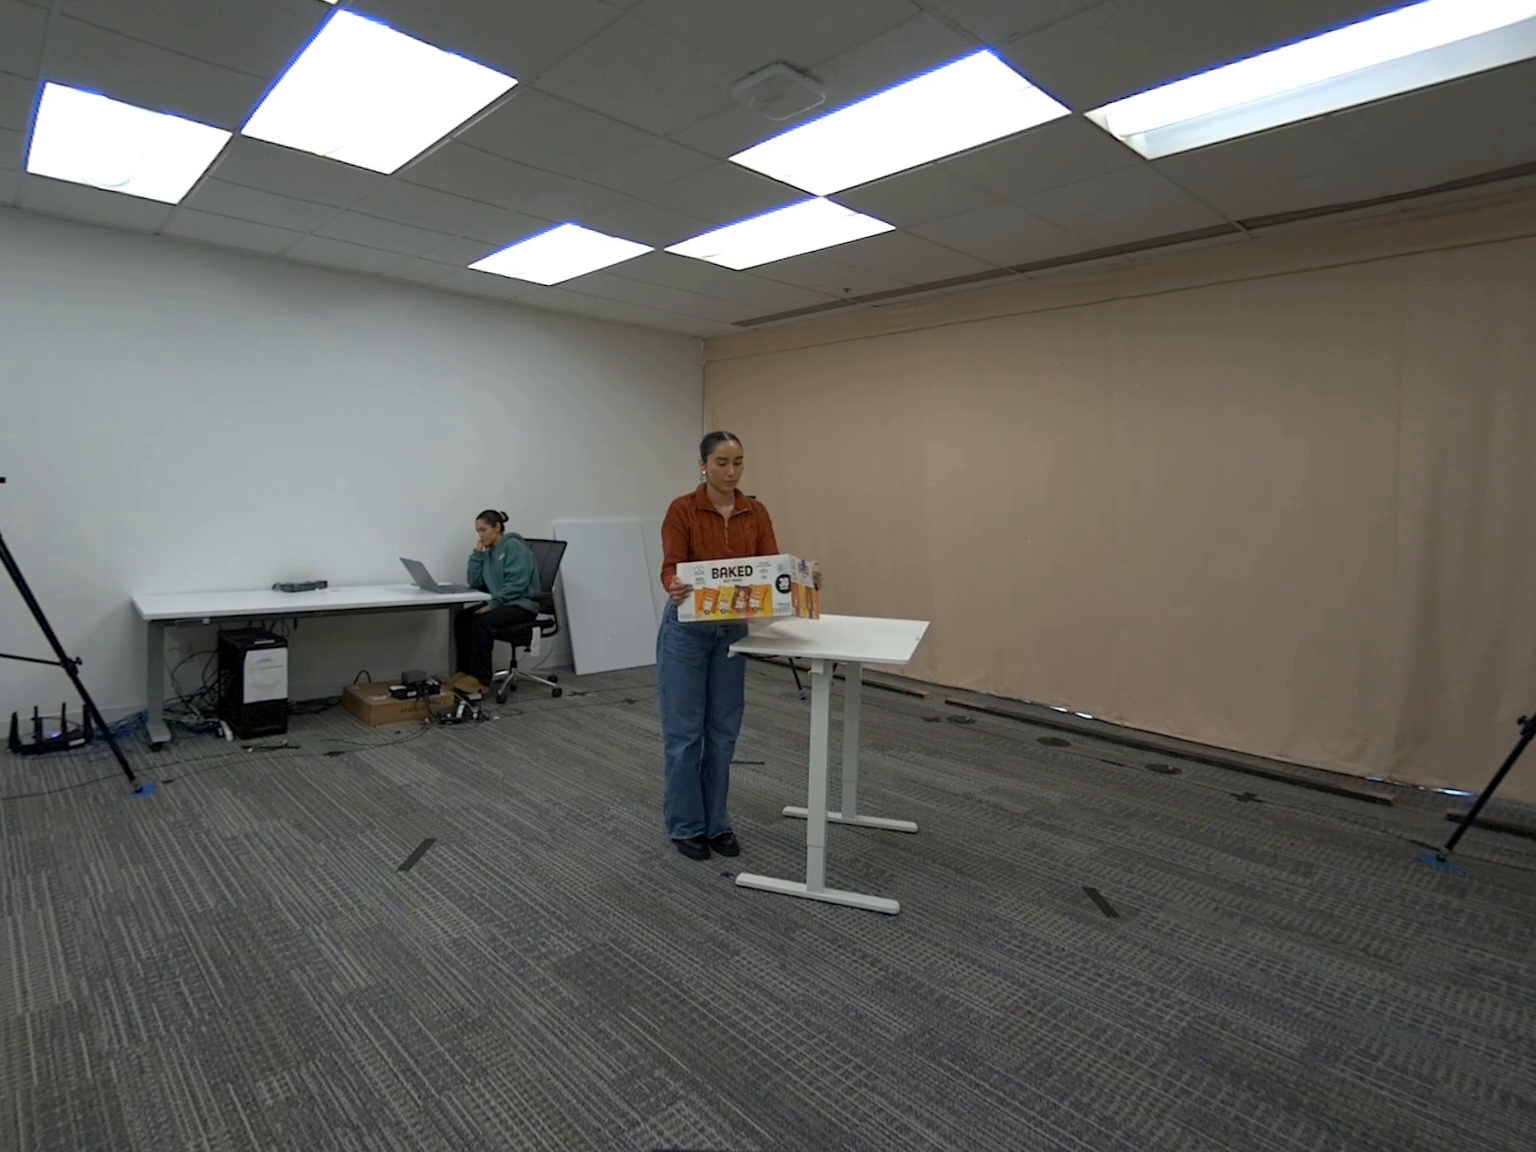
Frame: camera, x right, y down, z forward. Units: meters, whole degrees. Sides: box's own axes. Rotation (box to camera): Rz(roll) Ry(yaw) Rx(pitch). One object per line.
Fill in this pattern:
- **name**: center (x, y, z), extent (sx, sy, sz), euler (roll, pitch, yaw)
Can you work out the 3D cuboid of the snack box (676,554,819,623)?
- **snack box**: center (-0.079, 0.060, 2.955), extent (0.410, 0.207, 0.334), euler (-4, -8, 18)
